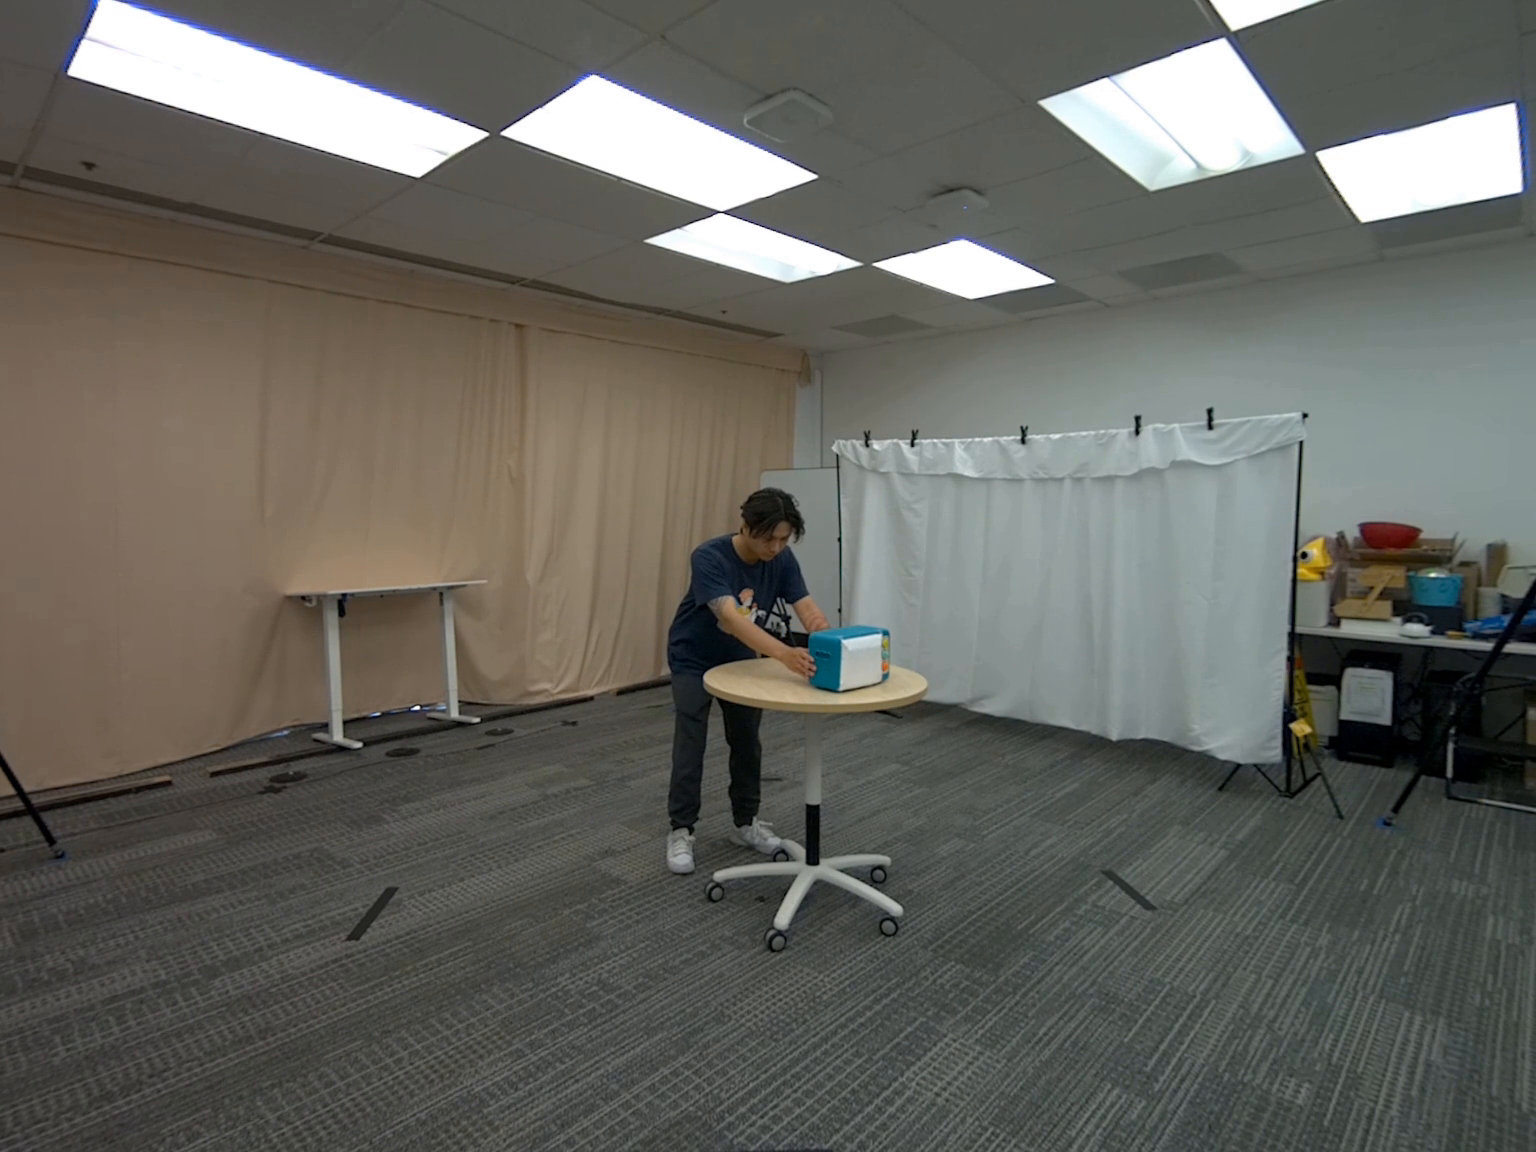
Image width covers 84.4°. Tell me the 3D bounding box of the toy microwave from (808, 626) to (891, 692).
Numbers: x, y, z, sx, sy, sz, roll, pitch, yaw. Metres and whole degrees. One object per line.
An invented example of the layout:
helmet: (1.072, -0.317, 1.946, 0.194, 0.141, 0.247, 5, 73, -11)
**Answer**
toy microwave: (0.281, 0.272, 2.785, 0.277, 0.184, 0.157, -4, 6, -43)
